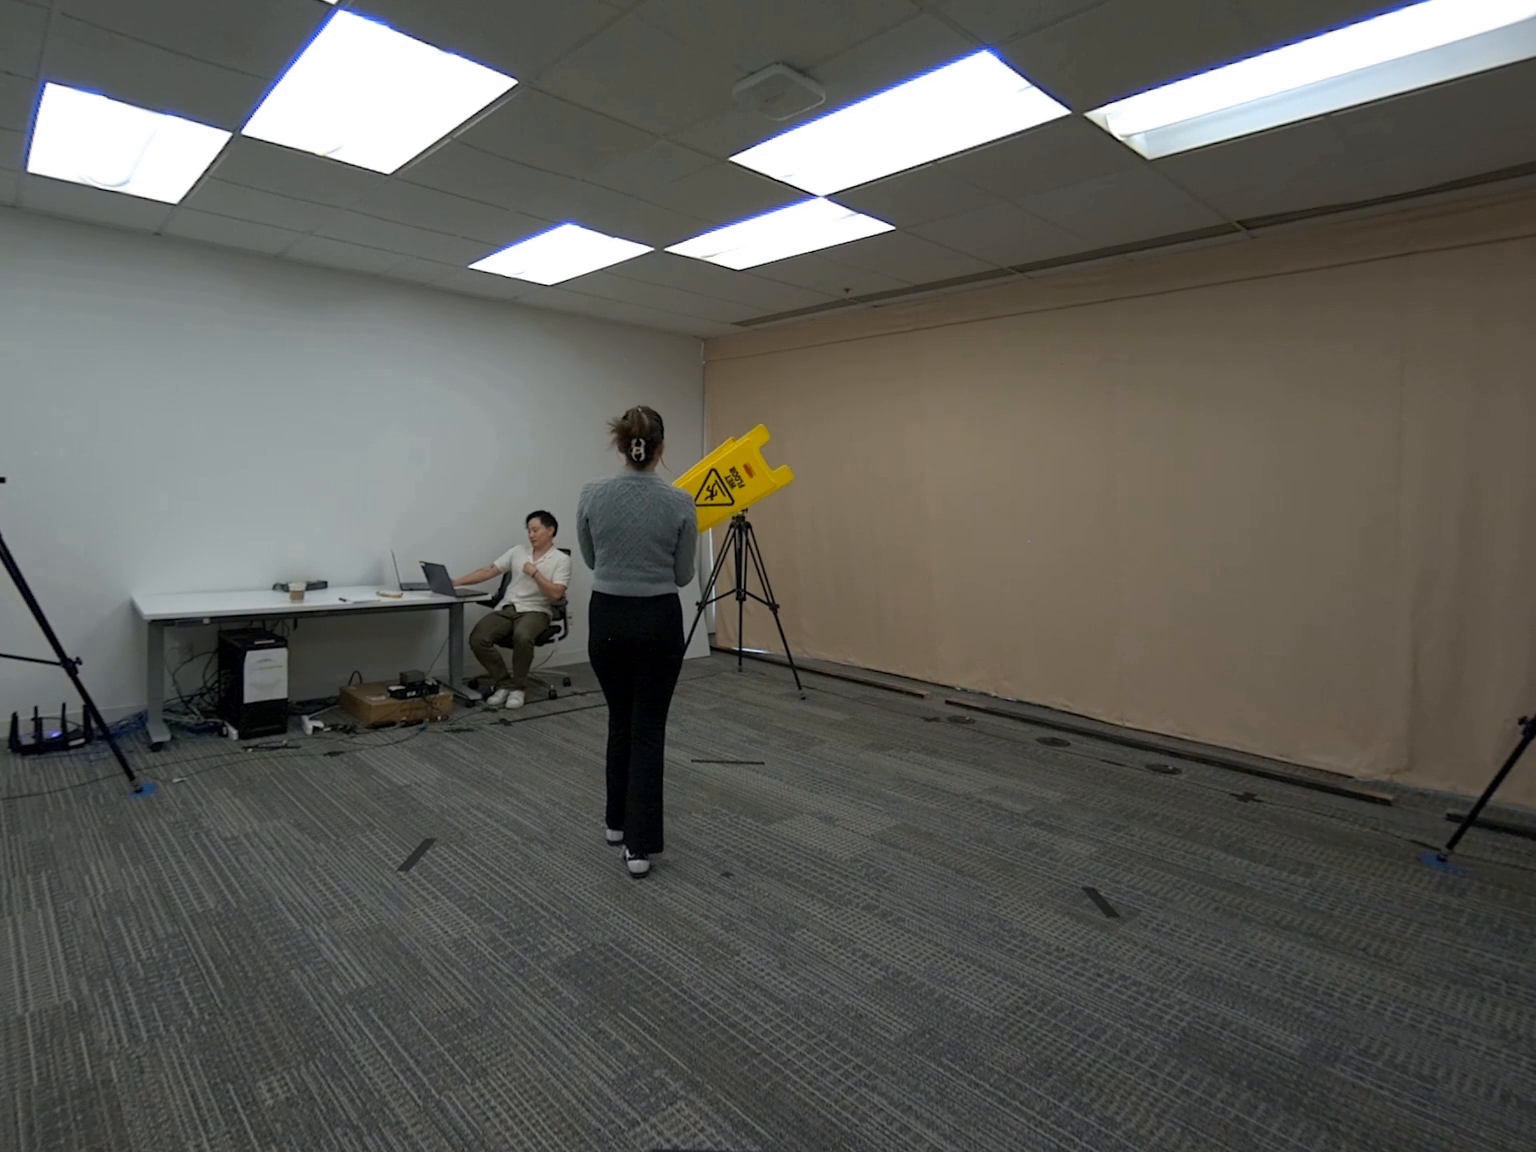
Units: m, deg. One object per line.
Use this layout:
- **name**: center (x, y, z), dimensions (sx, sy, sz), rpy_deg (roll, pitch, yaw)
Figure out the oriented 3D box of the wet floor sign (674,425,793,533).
- **wet floor sign**: center (-0.264, -0.348, 3.629), dimensions (0.643, 0.279, 0.294), rpy_deg (-36, 12, -24)
